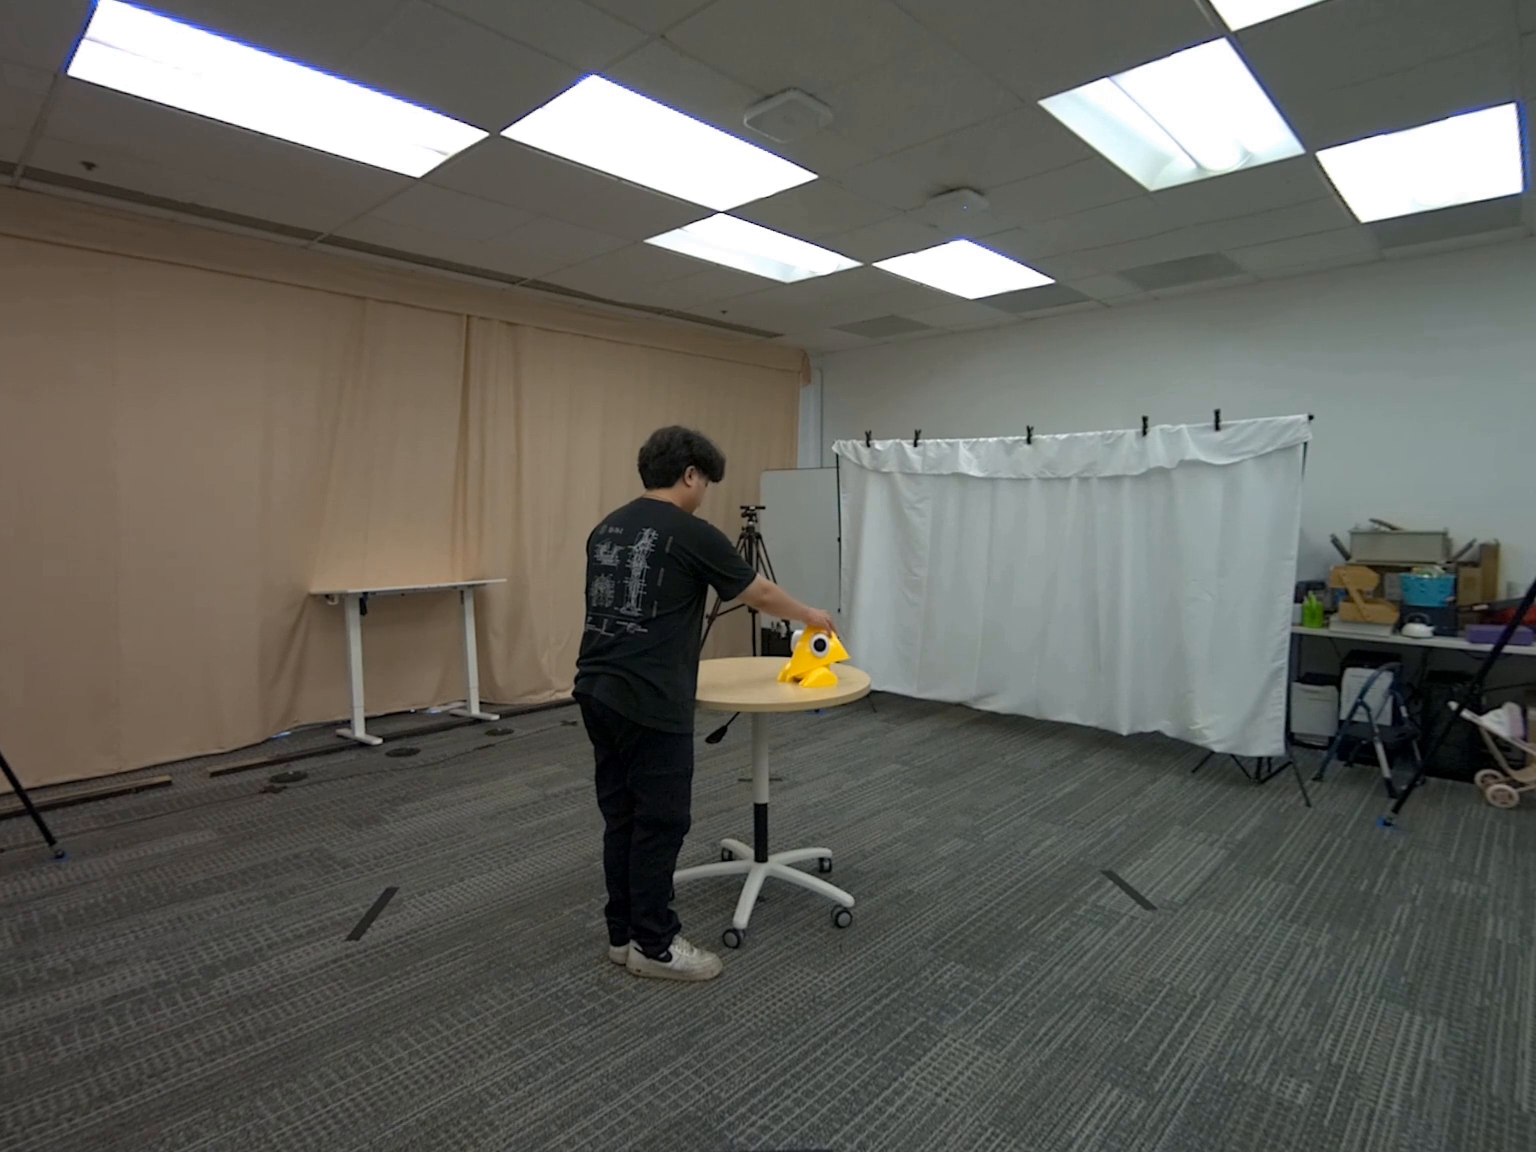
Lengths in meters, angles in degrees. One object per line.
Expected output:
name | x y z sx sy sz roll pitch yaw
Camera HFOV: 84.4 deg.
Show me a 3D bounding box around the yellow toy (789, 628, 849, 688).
yellow toy | 0.144 0.244 2.869 0.187 0.230 0.211 -4 6 -39
